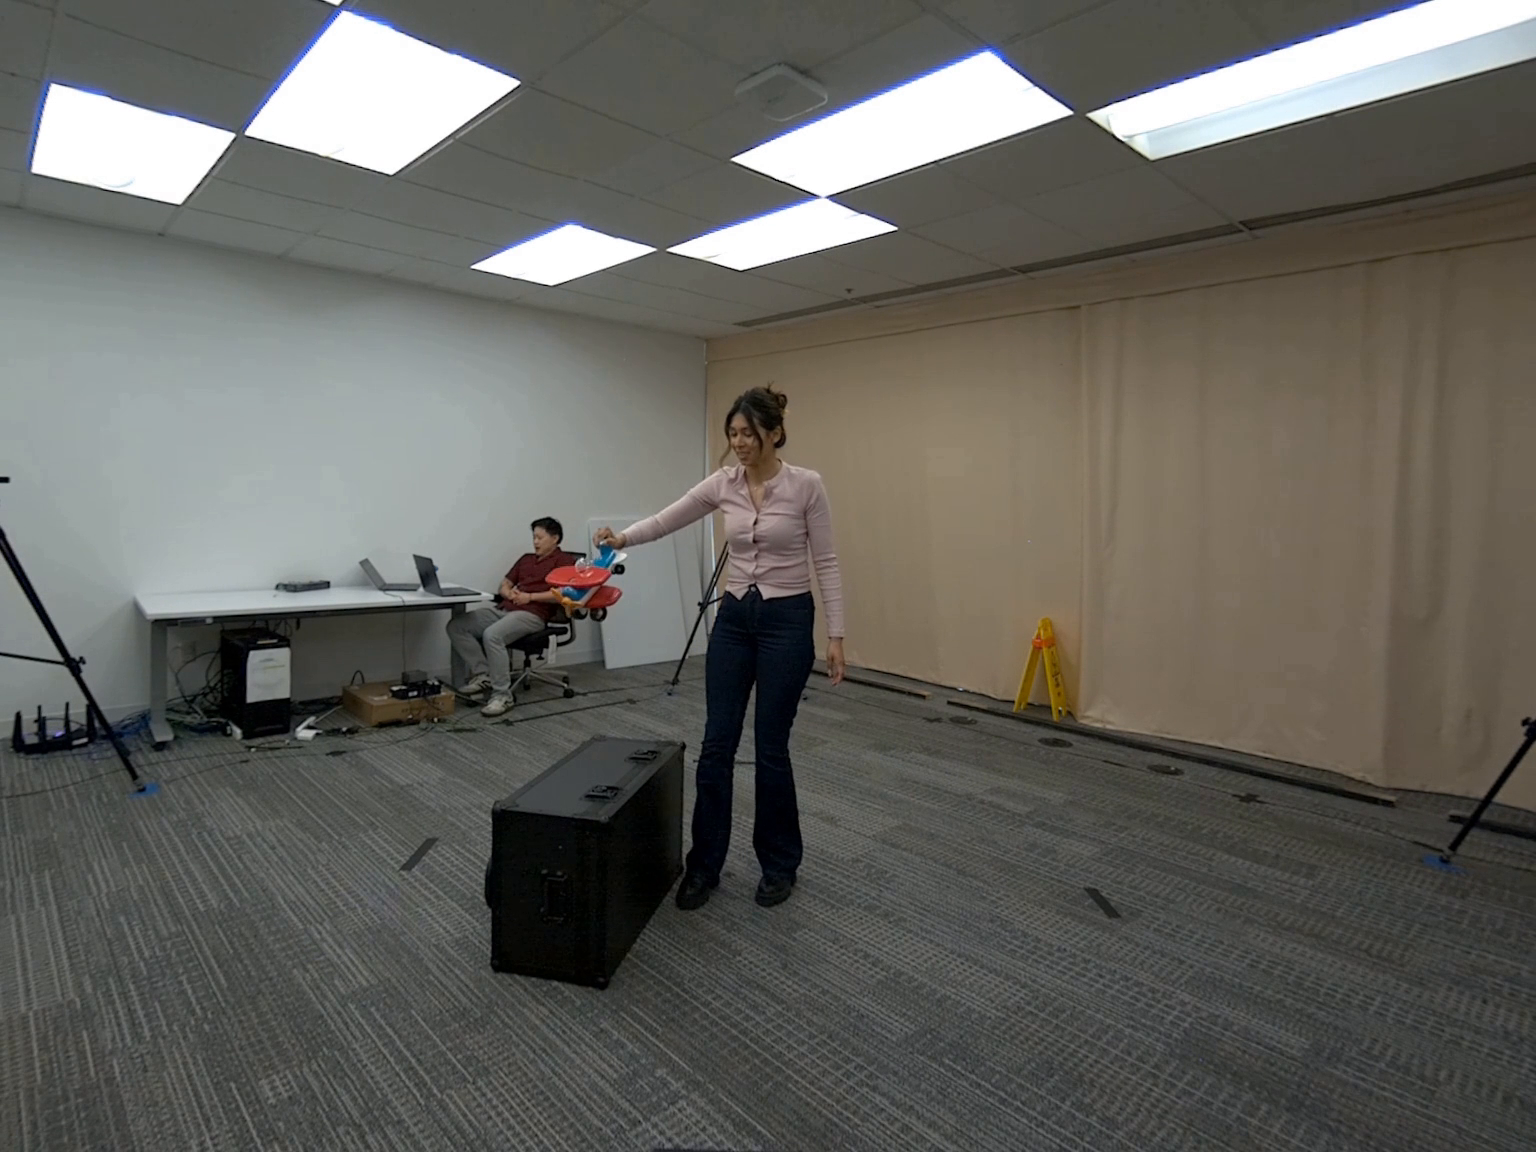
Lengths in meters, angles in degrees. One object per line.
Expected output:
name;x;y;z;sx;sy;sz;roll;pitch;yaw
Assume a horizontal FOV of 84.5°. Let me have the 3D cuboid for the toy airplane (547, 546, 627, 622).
toy airplane;-0.574;0.019;2.638;0.253;0.265;0.151;-21;-47;16
